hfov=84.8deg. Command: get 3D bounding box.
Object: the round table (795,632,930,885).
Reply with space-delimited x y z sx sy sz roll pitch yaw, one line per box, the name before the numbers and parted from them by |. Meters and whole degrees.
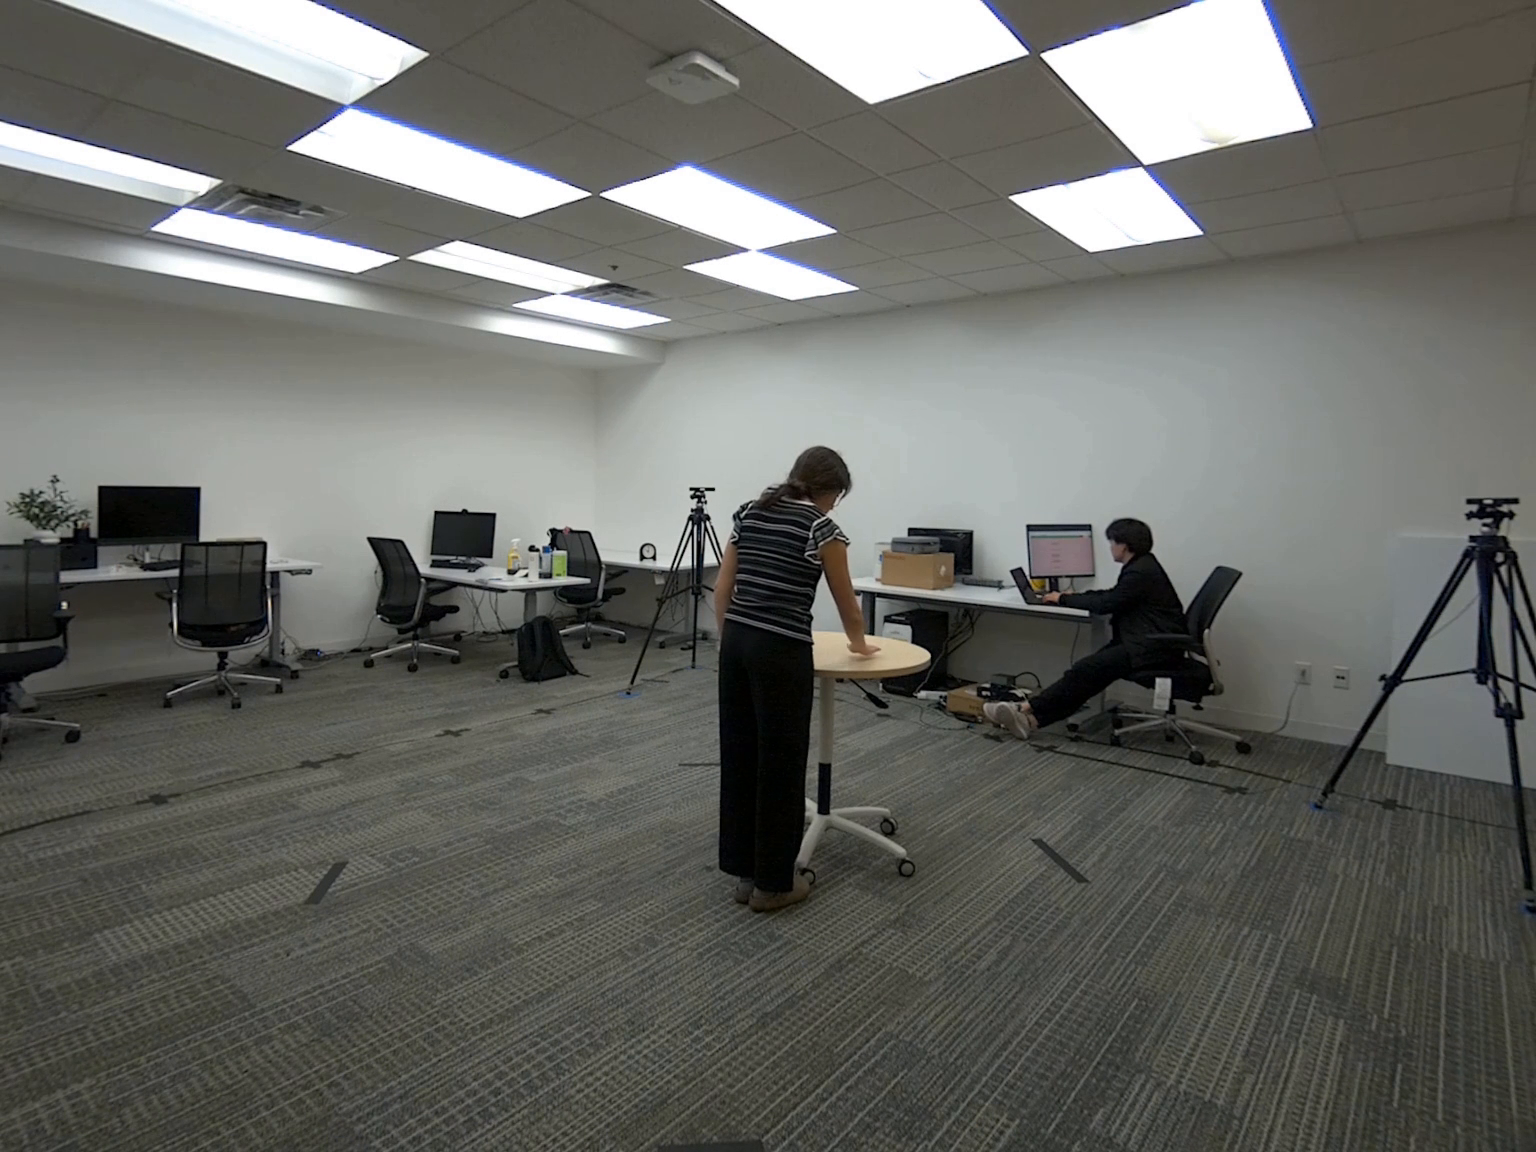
round table | 0.218 0.671 3.297 0.763 0.791 0.768 1 4 -2
